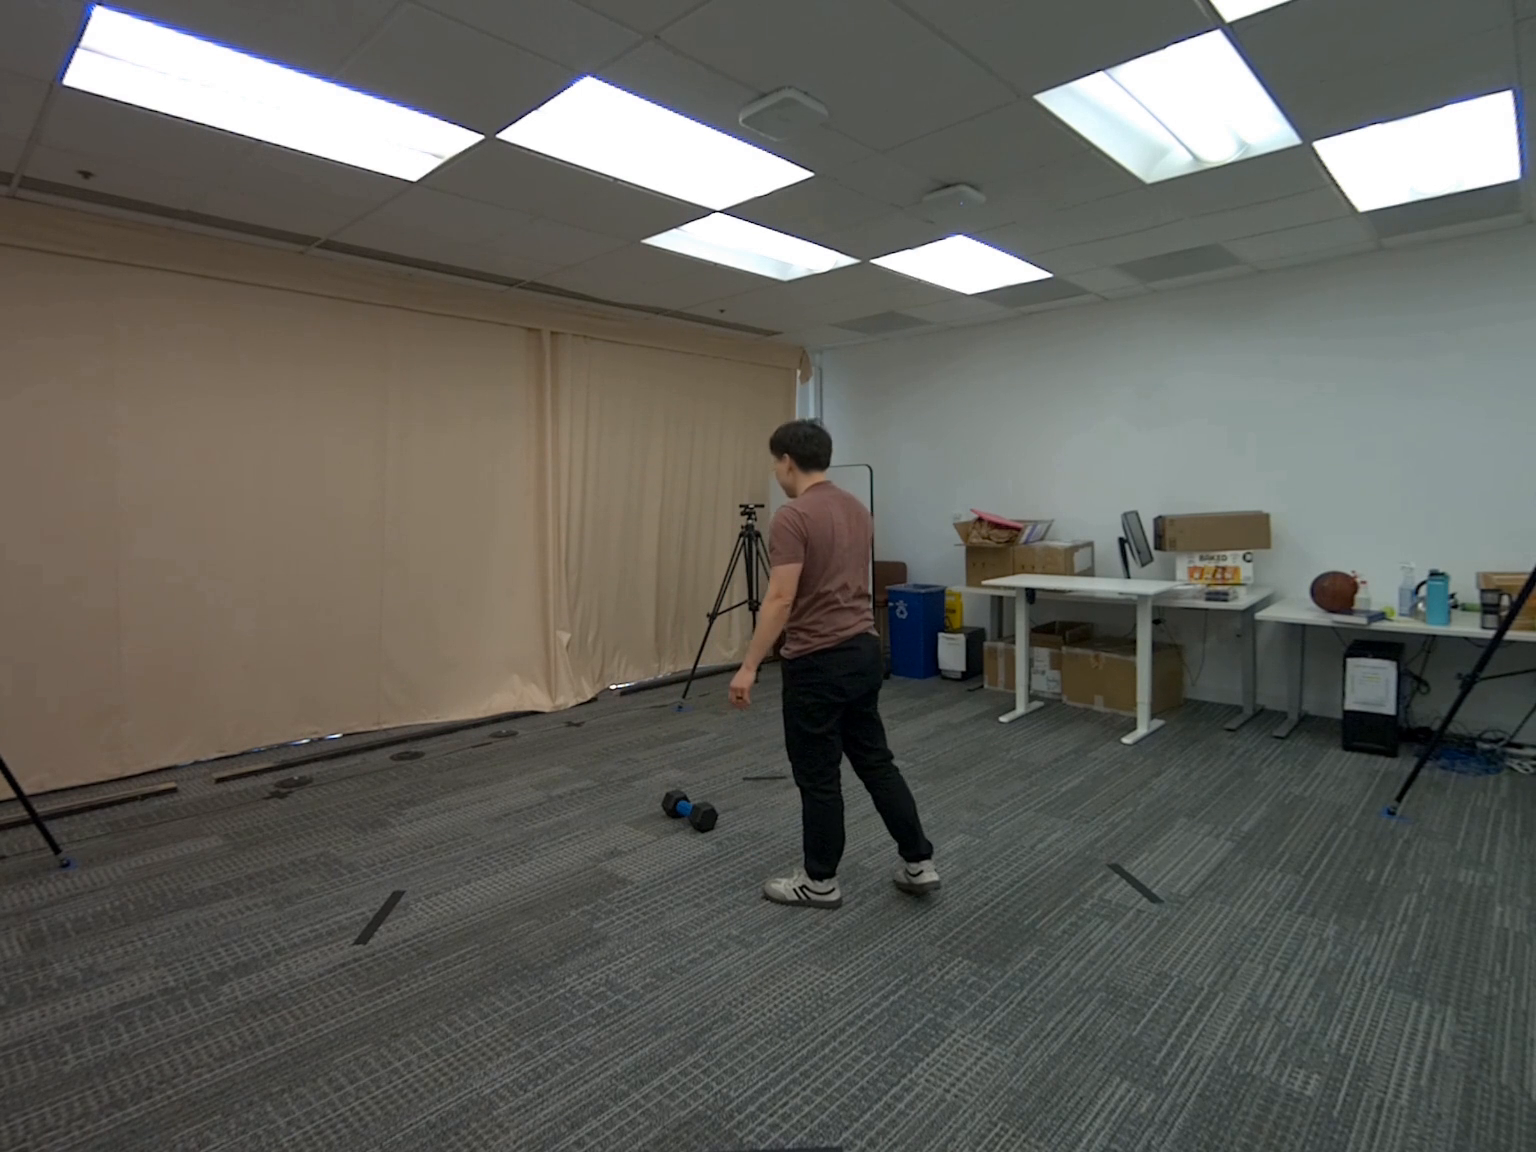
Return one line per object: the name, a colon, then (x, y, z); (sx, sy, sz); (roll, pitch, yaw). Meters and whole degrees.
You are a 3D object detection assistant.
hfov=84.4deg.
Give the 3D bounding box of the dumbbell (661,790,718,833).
dumbbell: (-0.346, 1.030, 3.705); (0.105, 0.123, 0.303); (34, -18, -35)
